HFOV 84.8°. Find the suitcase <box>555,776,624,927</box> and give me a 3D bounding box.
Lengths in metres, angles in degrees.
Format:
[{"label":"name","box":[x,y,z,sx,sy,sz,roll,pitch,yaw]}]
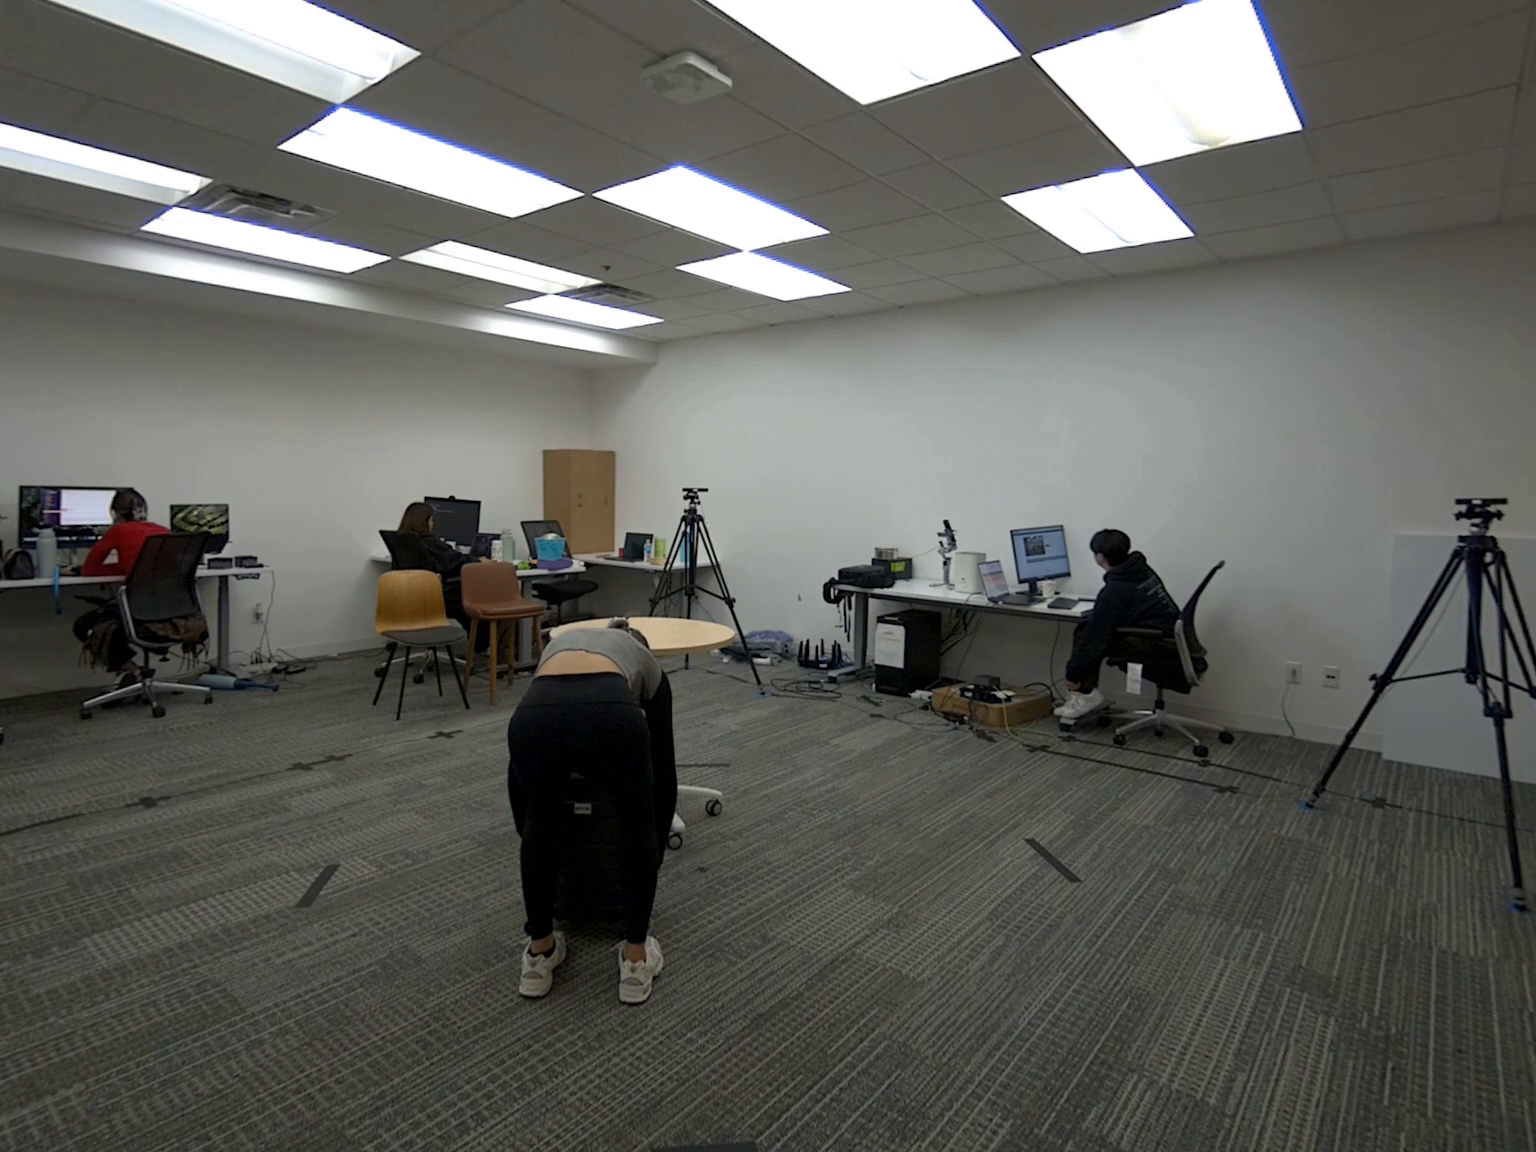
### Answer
[{"label":"suitcase","box":[-0.568,0.829,2.707,0.376,0.548,0.248,1,3,1]}]
